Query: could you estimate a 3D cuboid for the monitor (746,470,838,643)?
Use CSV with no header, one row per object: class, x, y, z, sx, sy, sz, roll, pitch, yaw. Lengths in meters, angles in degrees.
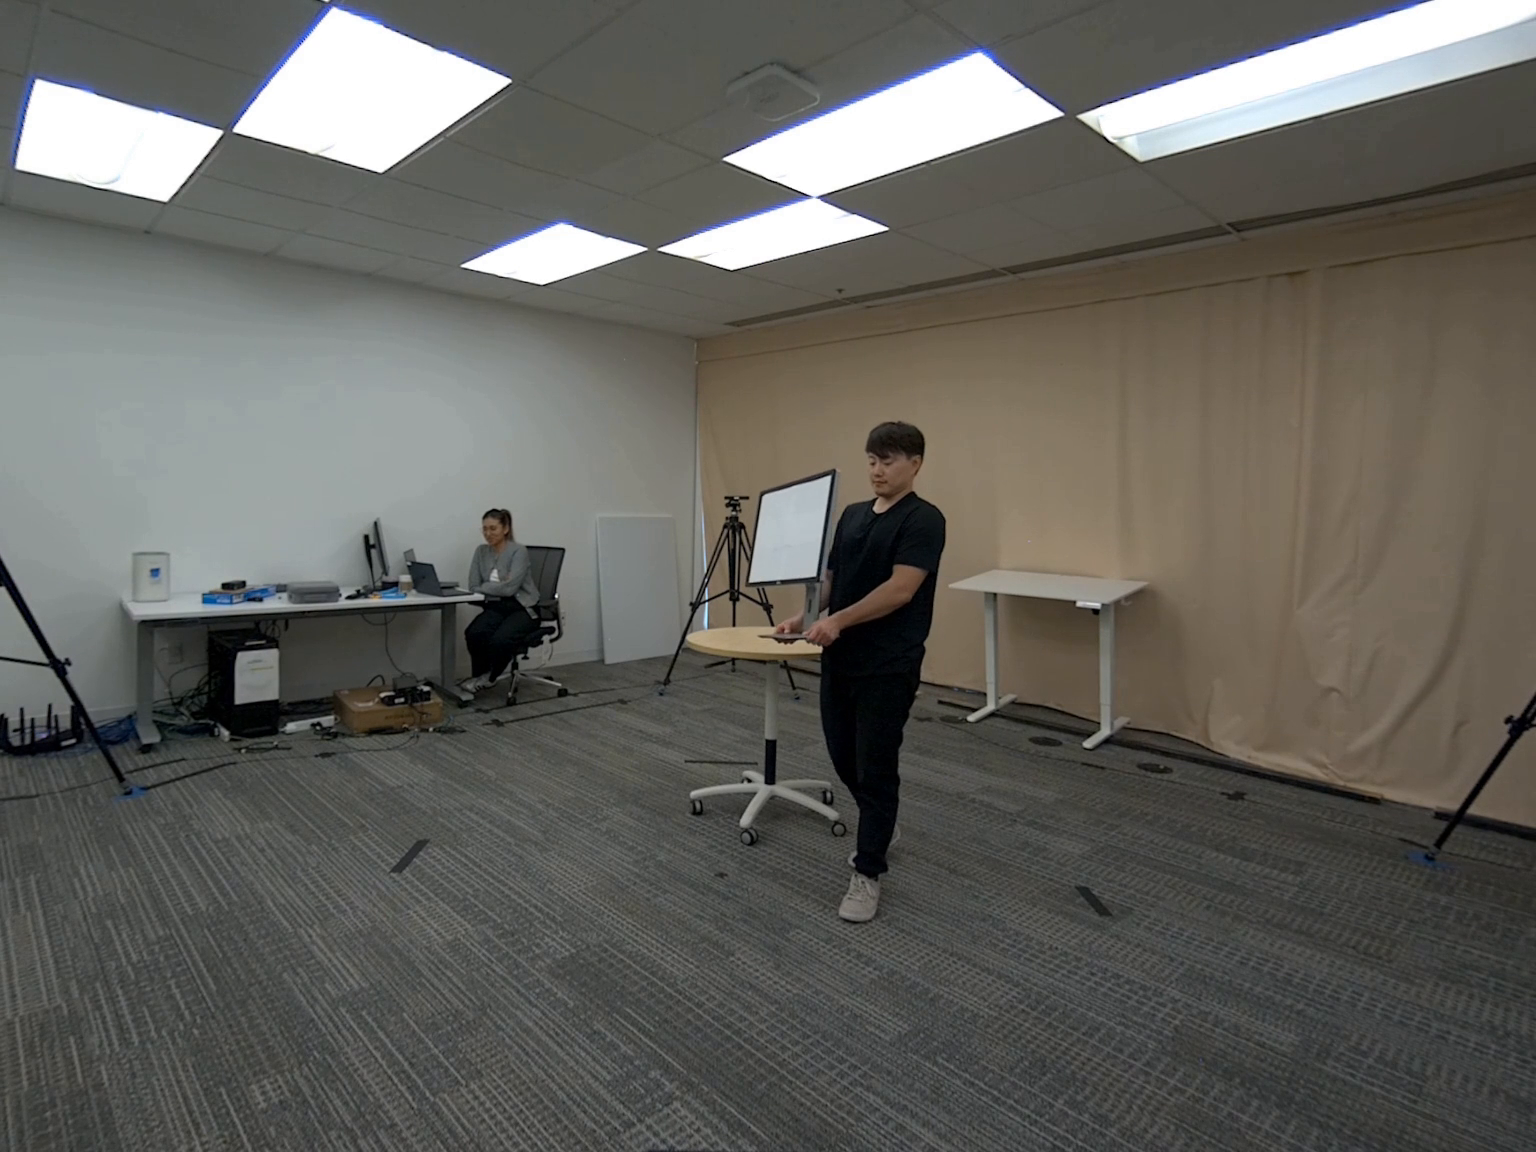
monitor,0.096,-0.054,2.881,0.184,0.524,0.547,-1,-3,-26
